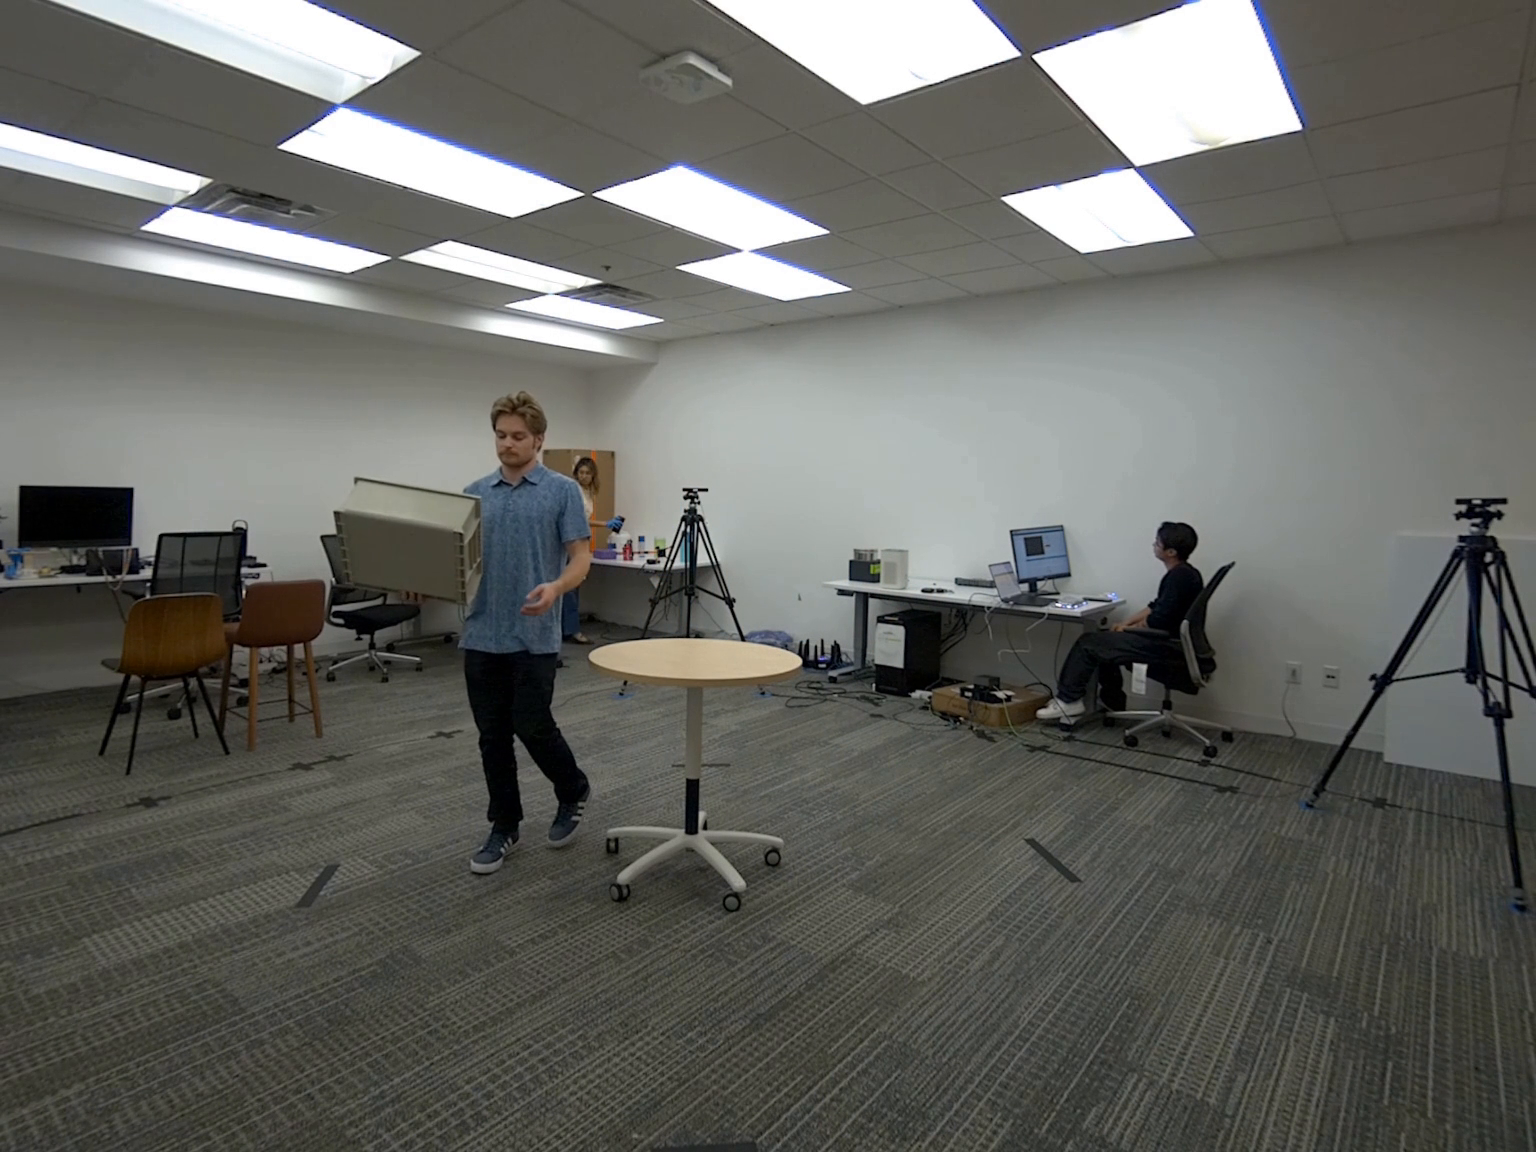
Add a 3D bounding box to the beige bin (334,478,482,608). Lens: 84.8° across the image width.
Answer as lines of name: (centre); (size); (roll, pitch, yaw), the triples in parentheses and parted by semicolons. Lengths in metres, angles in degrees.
beige bin: (-1.212, -0.100, 2.847); (0.421, 0.369, 0.193); (10, 40, -3)
